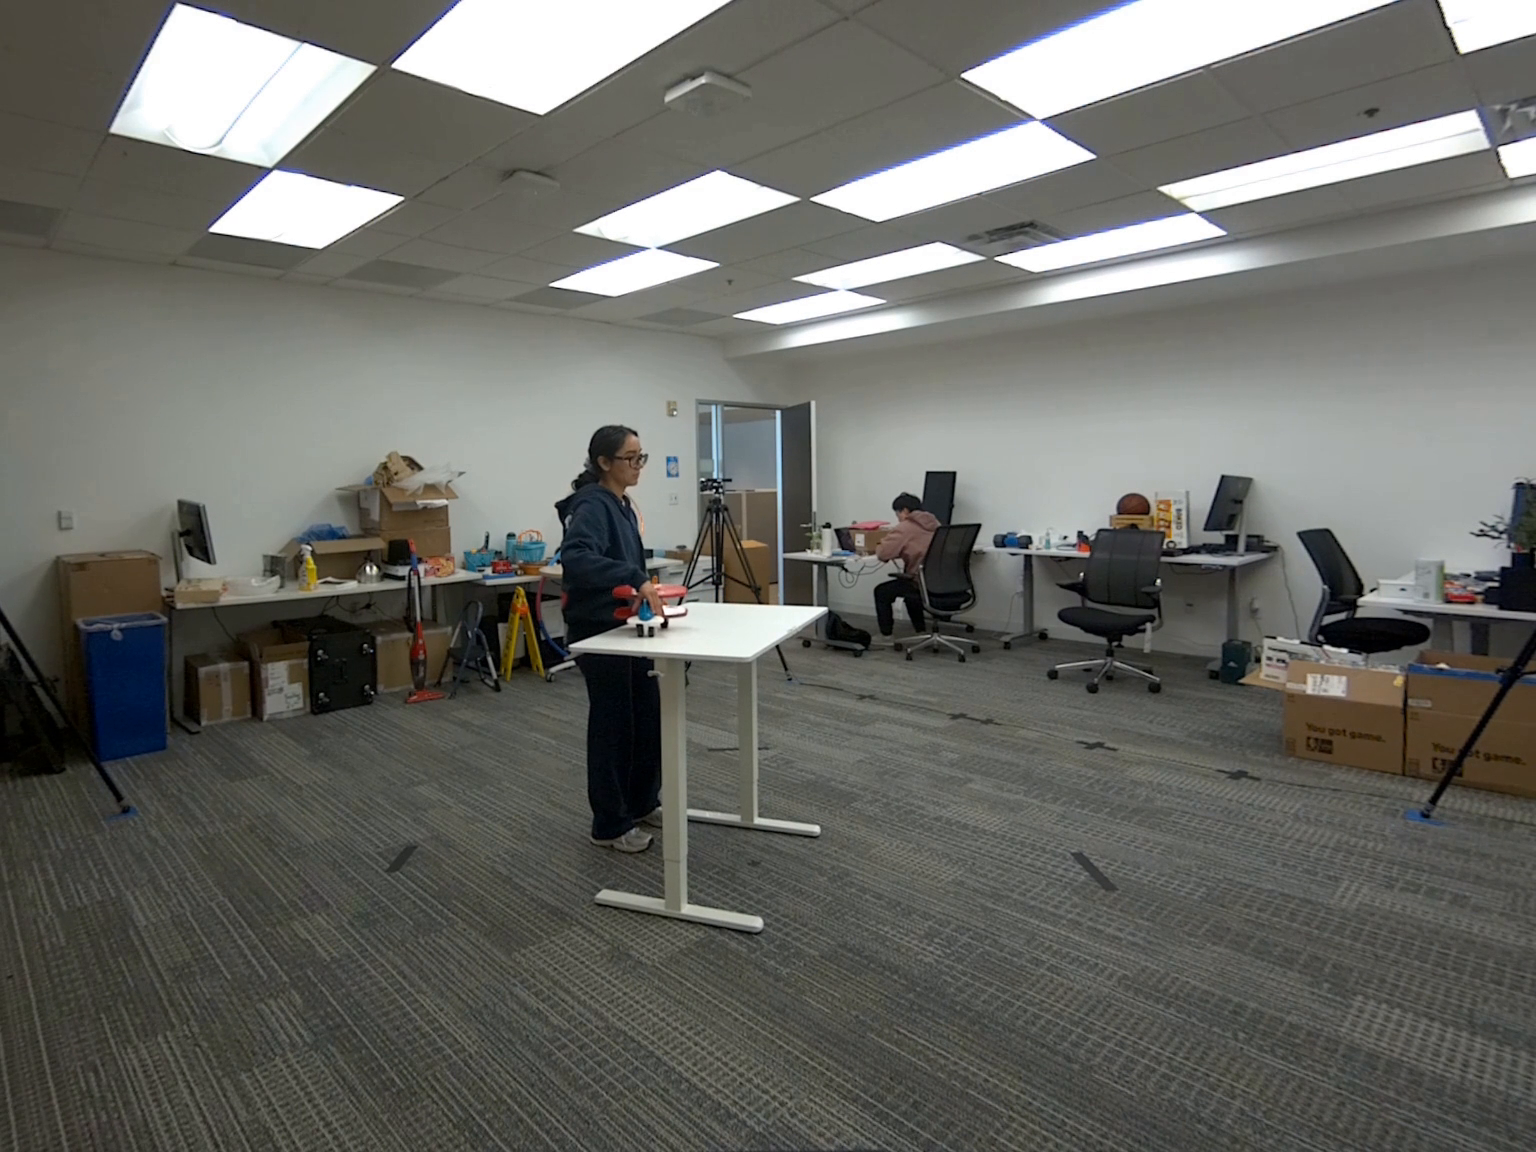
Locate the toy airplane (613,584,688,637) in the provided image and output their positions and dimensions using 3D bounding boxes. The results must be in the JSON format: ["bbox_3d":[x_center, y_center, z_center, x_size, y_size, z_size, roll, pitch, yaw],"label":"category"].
[{"bbox_3d":[-0.382,0.115,2.899,0.246,0.156,0.266,-5,7,-27],"label":"toy airplane"}]
